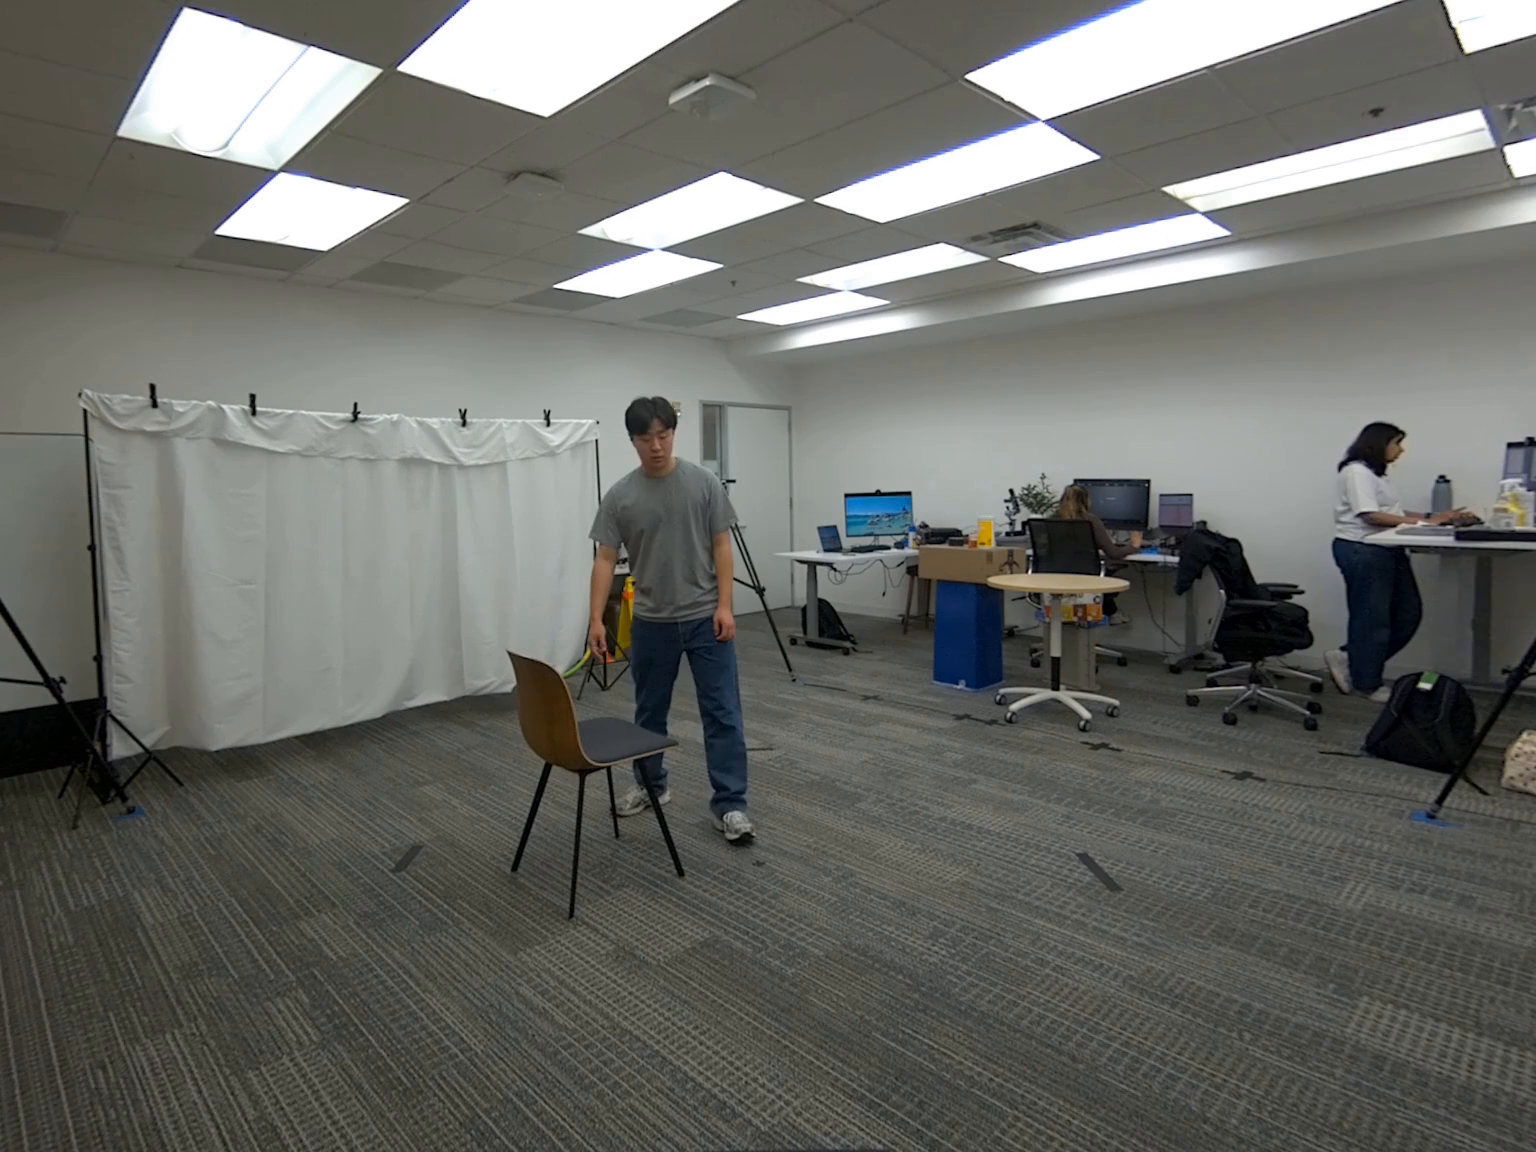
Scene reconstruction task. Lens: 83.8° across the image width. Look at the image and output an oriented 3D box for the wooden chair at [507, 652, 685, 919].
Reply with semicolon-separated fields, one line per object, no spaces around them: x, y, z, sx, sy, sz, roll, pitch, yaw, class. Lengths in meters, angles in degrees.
-0.613;0.642;3.025;0.511;0.872;0.492;-10;8;-38;wooden chair
